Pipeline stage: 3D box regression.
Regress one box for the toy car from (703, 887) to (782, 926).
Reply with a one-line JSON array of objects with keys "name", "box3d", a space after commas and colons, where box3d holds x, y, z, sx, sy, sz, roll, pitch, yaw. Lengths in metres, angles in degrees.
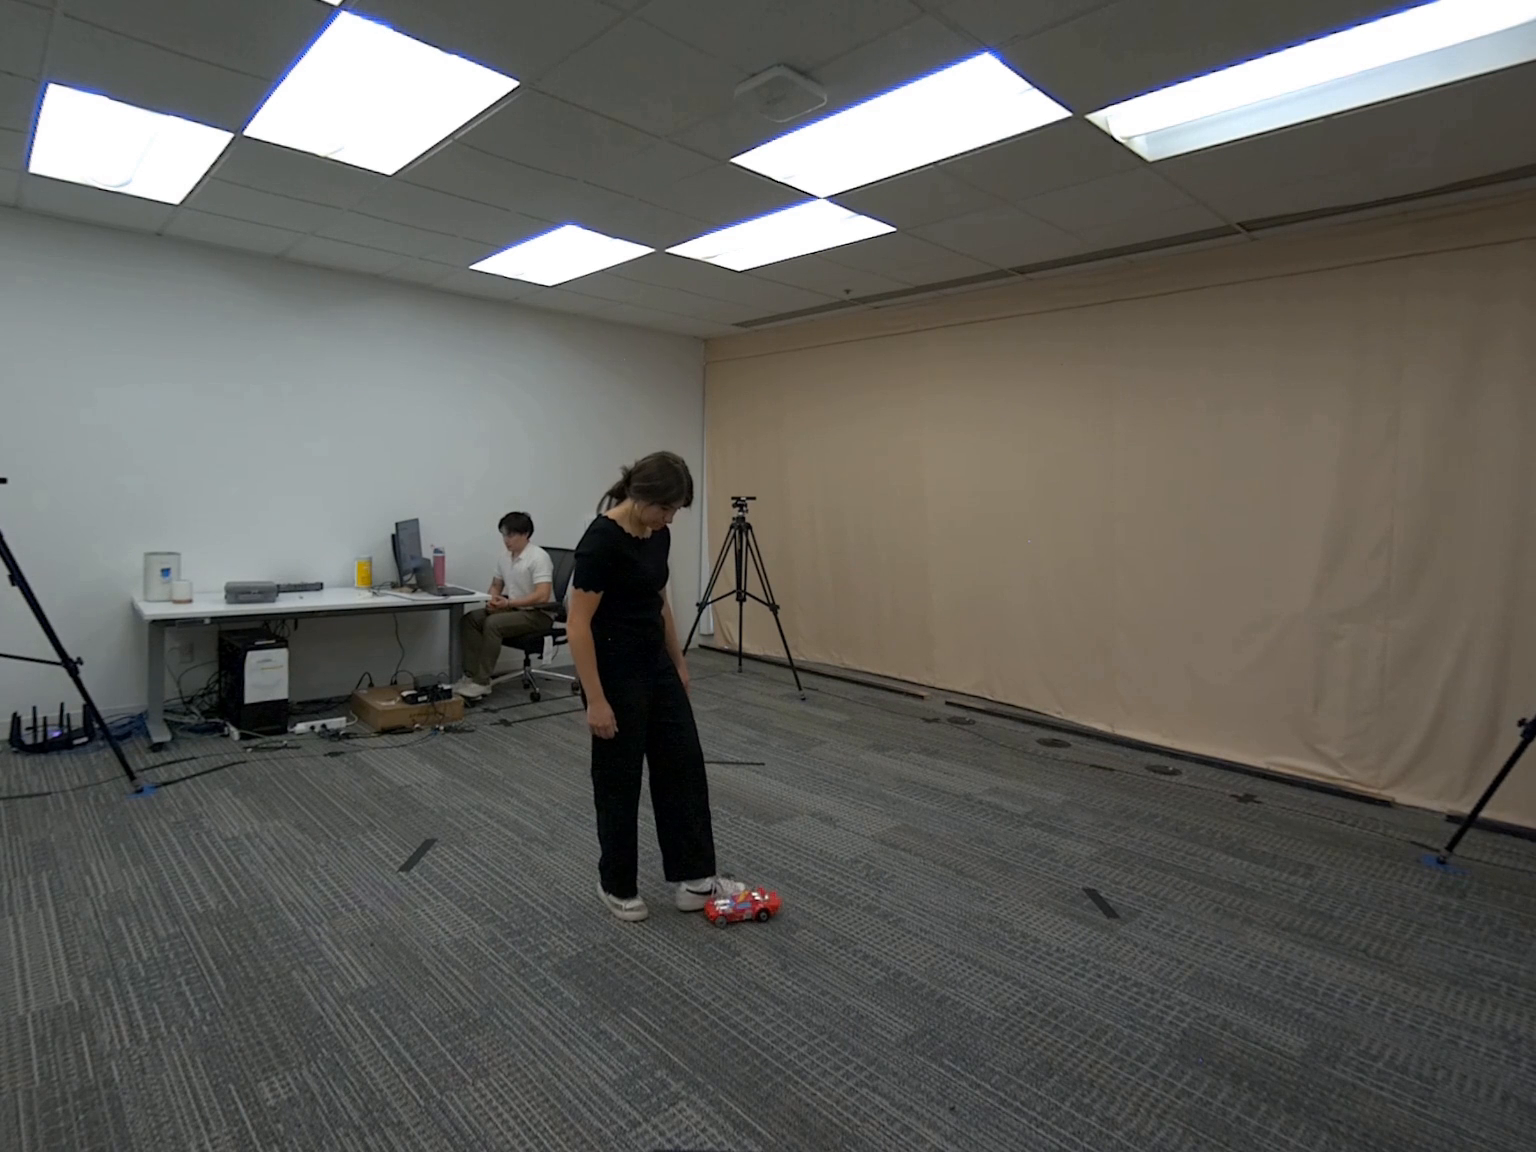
[{"name": "toy car", "box3d": [-0.091, 1.102, 2.790, 0.252, 0.083, 0.132, -12, 8, -14]}]
